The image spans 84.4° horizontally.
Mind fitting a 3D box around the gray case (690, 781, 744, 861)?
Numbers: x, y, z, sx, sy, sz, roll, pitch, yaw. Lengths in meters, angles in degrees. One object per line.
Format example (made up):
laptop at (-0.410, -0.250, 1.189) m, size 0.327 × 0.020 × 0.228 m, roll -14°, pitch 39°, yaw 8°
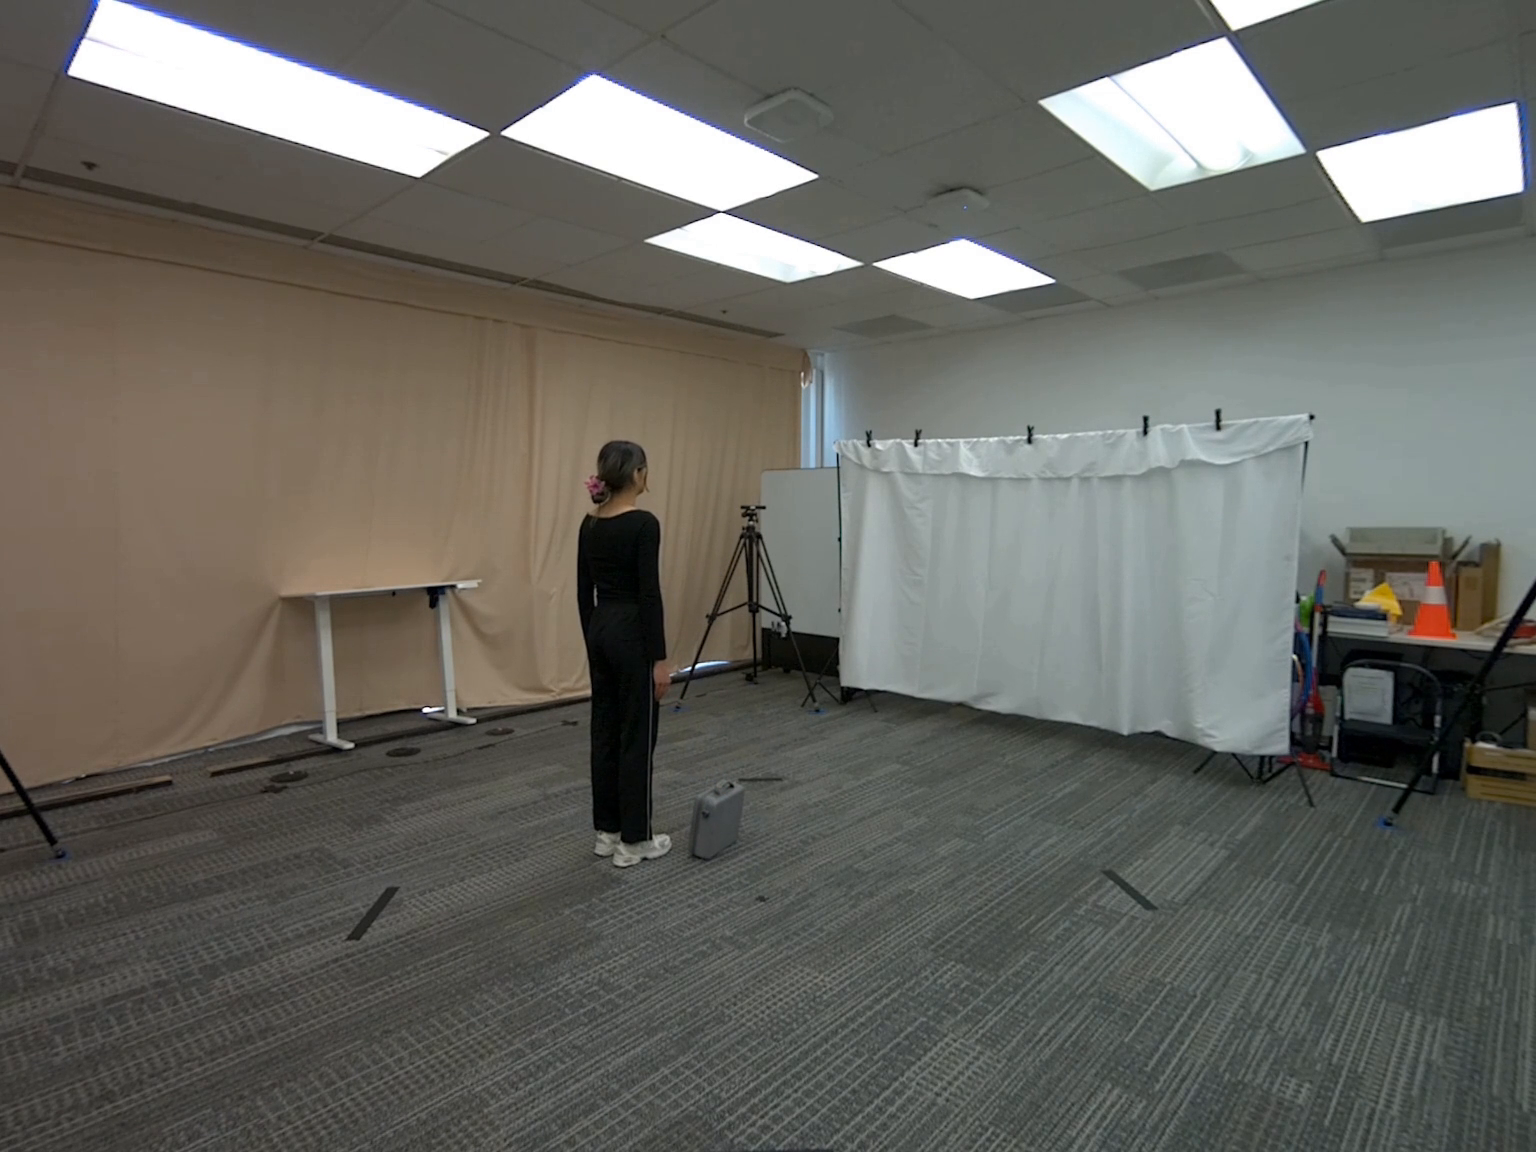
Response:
gray case at (-0.204, 0.980, 3.400) m, size 0.107 × 0.259 × 0.250 m, roll 13°, pitch 10°, yaw 28°
